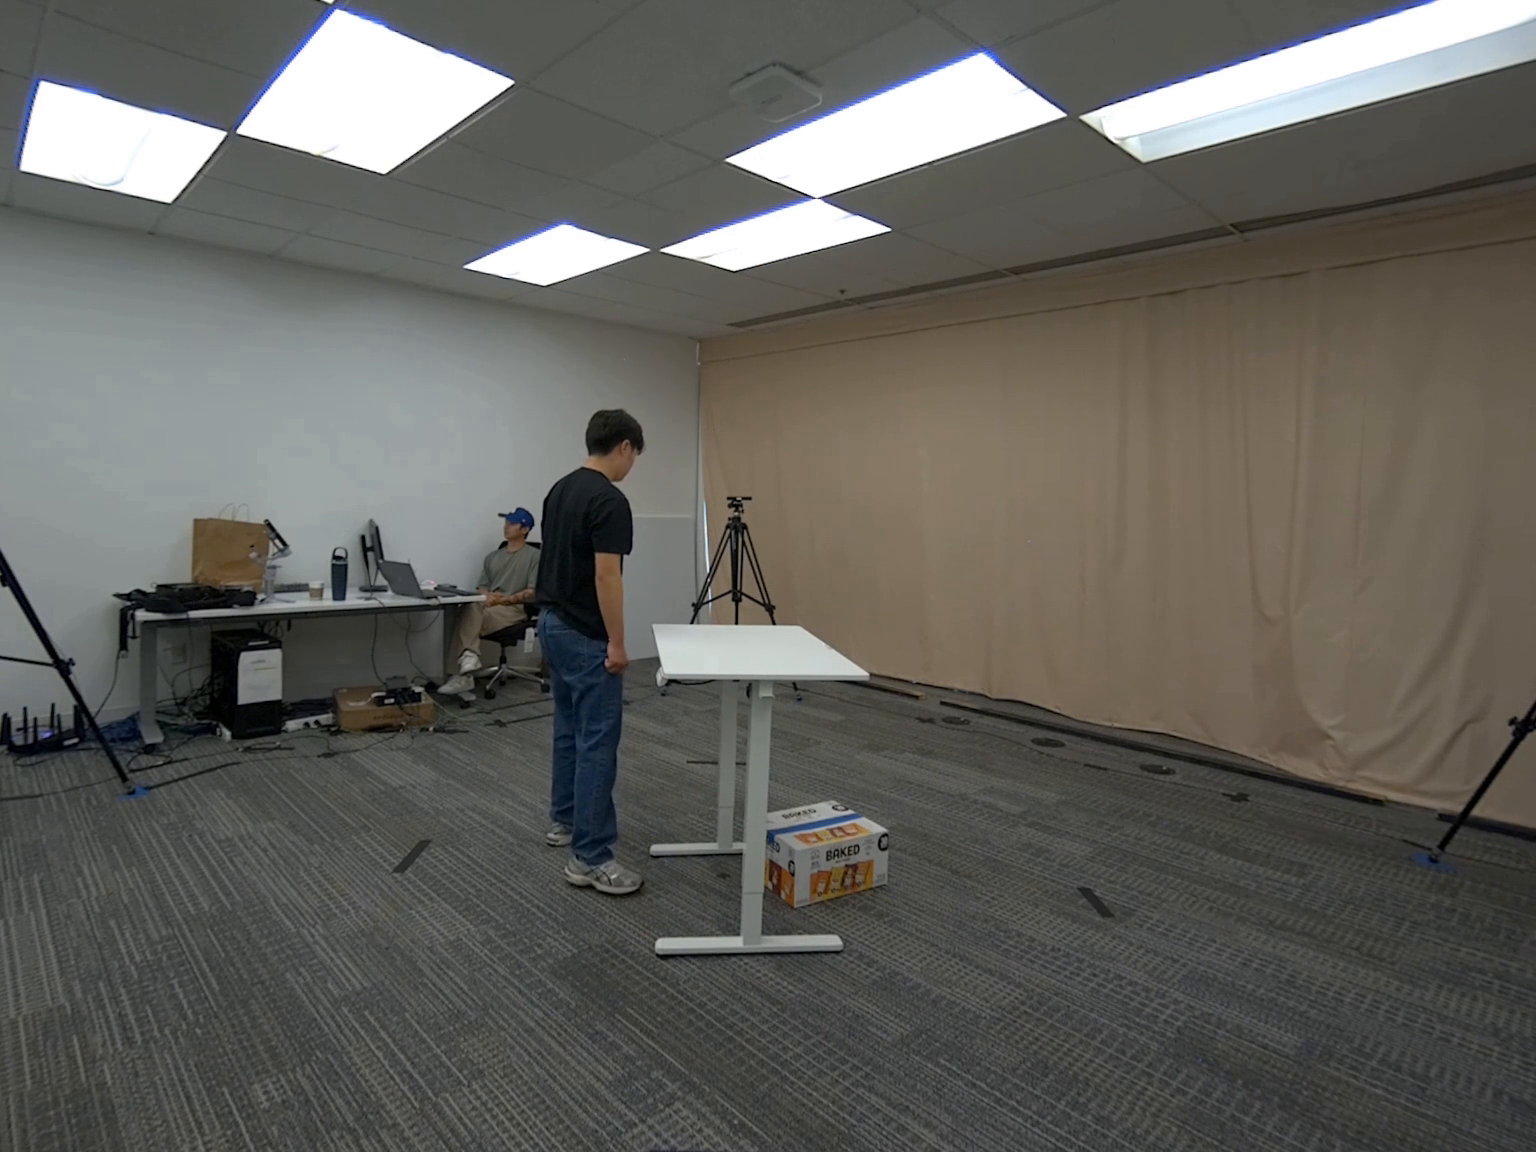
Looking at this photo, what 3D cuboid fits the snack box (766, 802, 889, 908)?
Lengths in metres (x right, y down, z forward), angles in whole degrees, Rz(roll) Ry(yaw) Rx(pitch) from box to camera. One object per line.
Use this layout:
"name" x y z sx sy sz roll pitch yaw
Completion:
"snack box" 0.172 1.013 3.095 0.397 0.205 0.348 -2 5 -30
